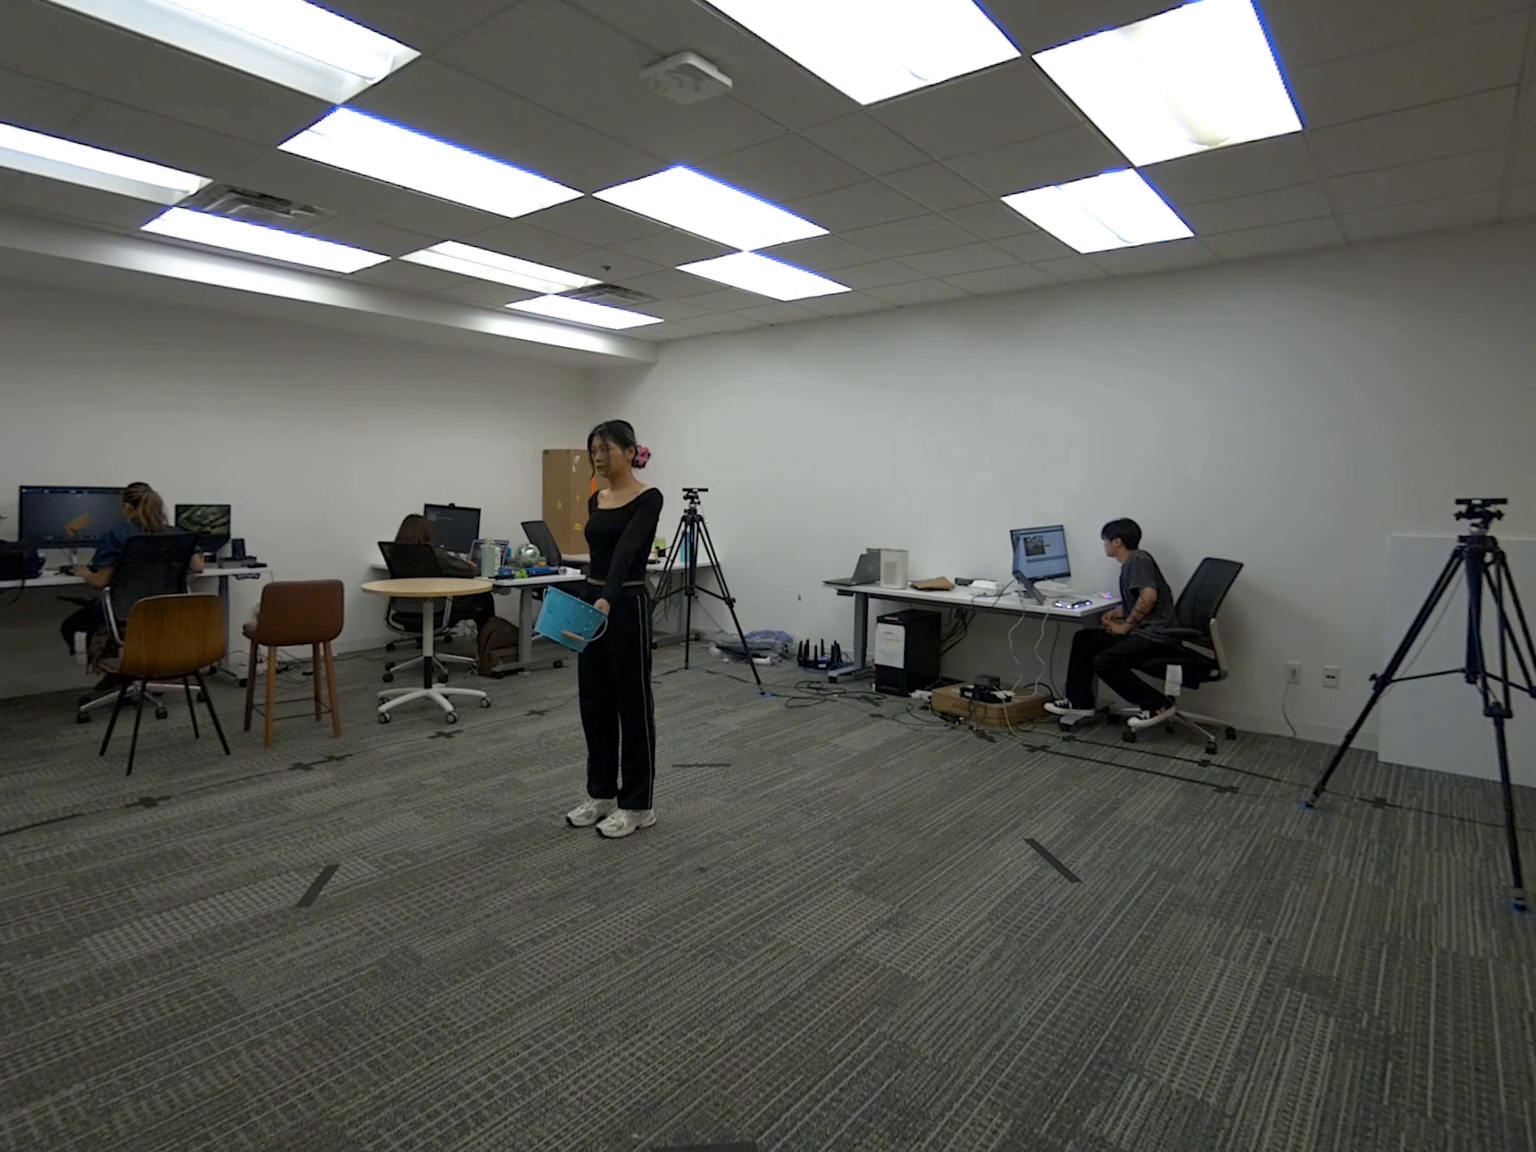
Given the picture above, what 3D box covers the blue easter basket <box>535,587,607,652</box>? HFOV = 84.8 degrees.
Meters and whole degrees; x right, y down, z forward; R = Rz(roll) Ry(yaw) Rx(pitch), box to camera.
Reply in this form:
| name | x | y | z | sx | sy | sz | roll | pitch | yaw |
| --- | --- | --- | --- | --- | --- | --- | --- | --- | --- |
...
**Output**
| name | x | y | z | sx | sy | sz | roll | pitch | yaw |
| --- | --- | --- | --- | --- | --- | --- | --- | --- | --- |
| blue easter basket | -0.686 | 0.155 | 2.900 | 0.245 | 0.156 | 0.241 | 25 | -9 | 2 |
